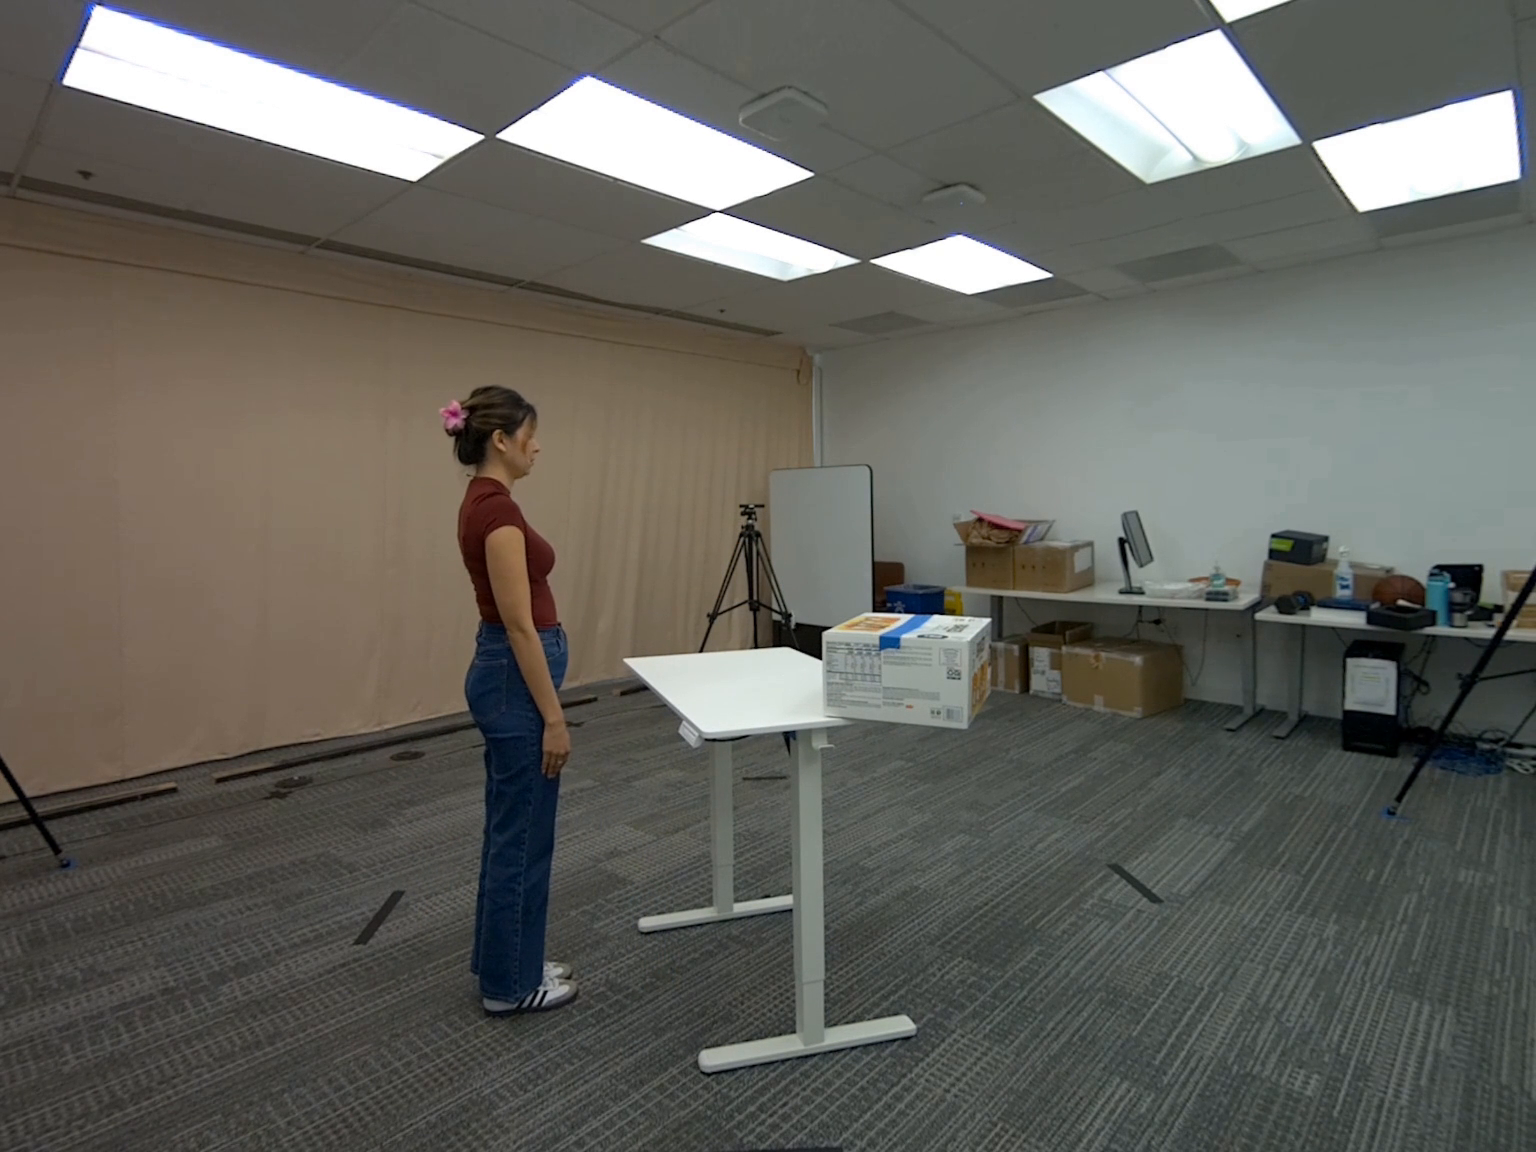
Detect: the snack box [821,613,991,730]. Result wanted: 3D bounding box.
[{"bbox_3d":[0.357,0.224,2.112,0.349,0.205,0.396,1,4,24],"label":"snack box"}]
